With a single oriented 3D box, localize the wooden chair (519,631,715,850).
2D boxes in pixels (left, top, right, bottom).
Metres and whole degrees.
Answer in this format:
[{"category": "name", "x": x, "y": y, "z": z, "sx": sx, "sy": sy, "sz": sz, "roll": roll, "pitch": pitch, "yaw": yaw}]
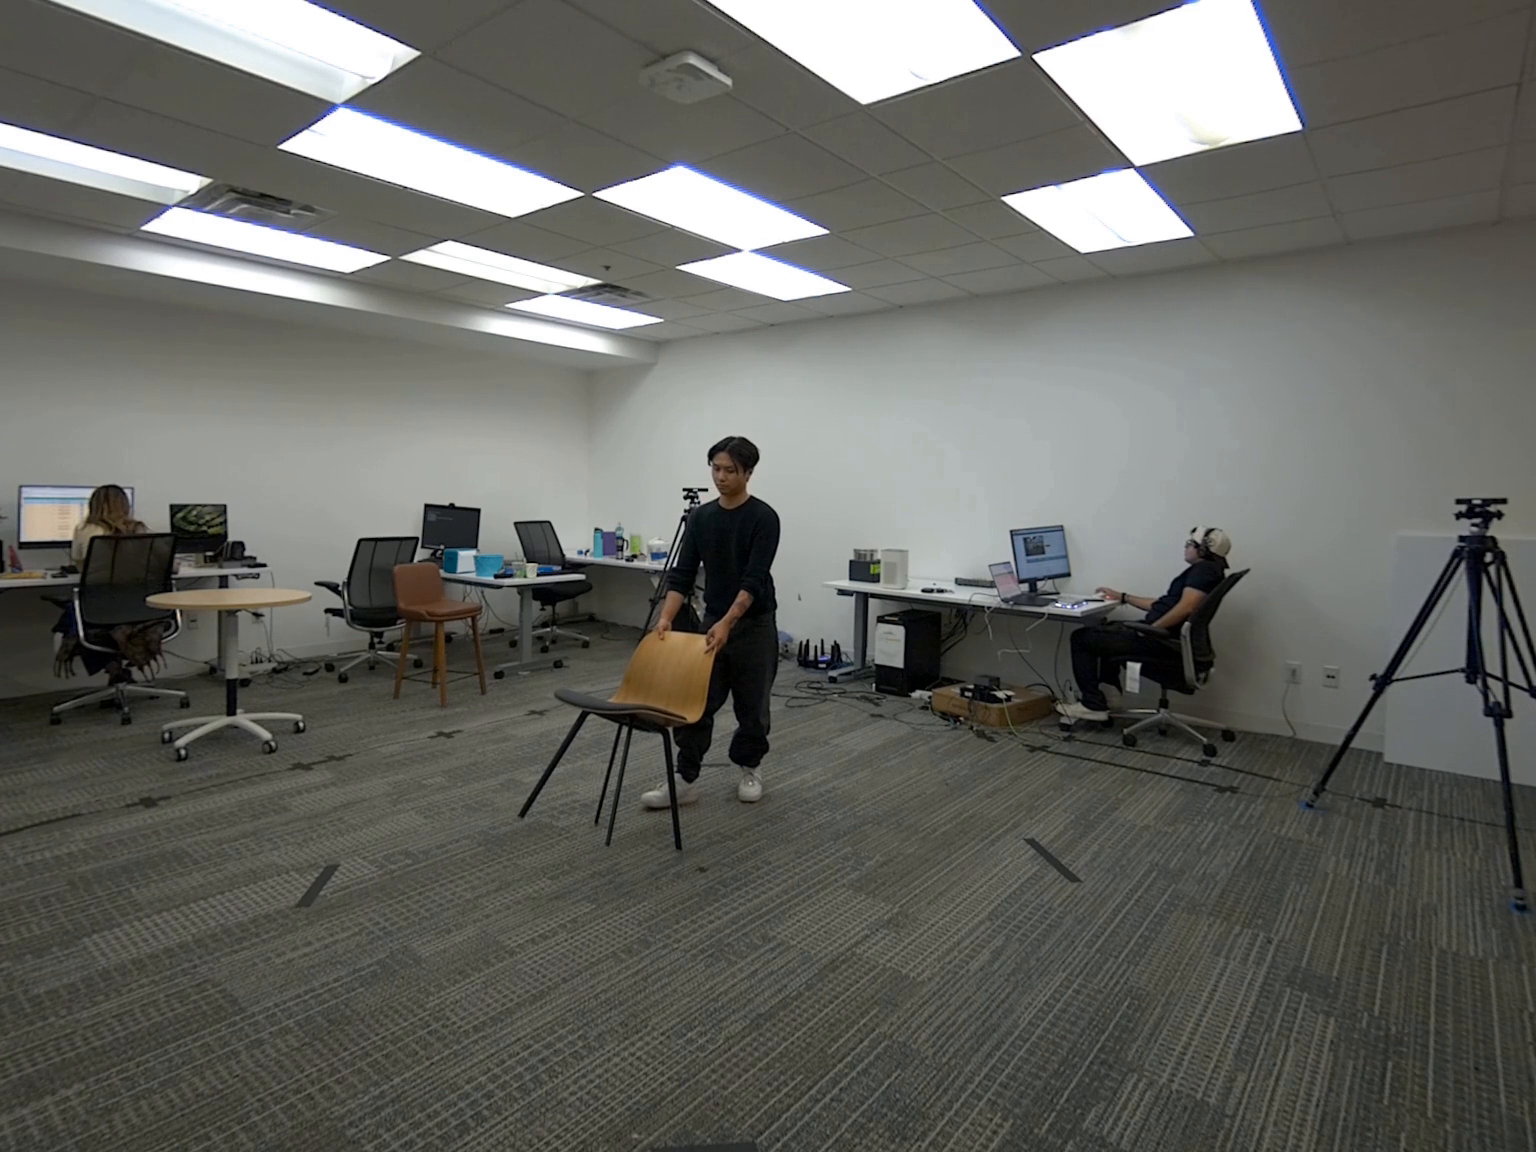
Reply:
[{"category": "wooden chair", "x": -0.561, "y": 0.565, "z": 3.305, "sx": 0.493, "sy": 0.887, "sz": 0.501, "roll": 3, "pitch": -20, "yaw": 34}]
